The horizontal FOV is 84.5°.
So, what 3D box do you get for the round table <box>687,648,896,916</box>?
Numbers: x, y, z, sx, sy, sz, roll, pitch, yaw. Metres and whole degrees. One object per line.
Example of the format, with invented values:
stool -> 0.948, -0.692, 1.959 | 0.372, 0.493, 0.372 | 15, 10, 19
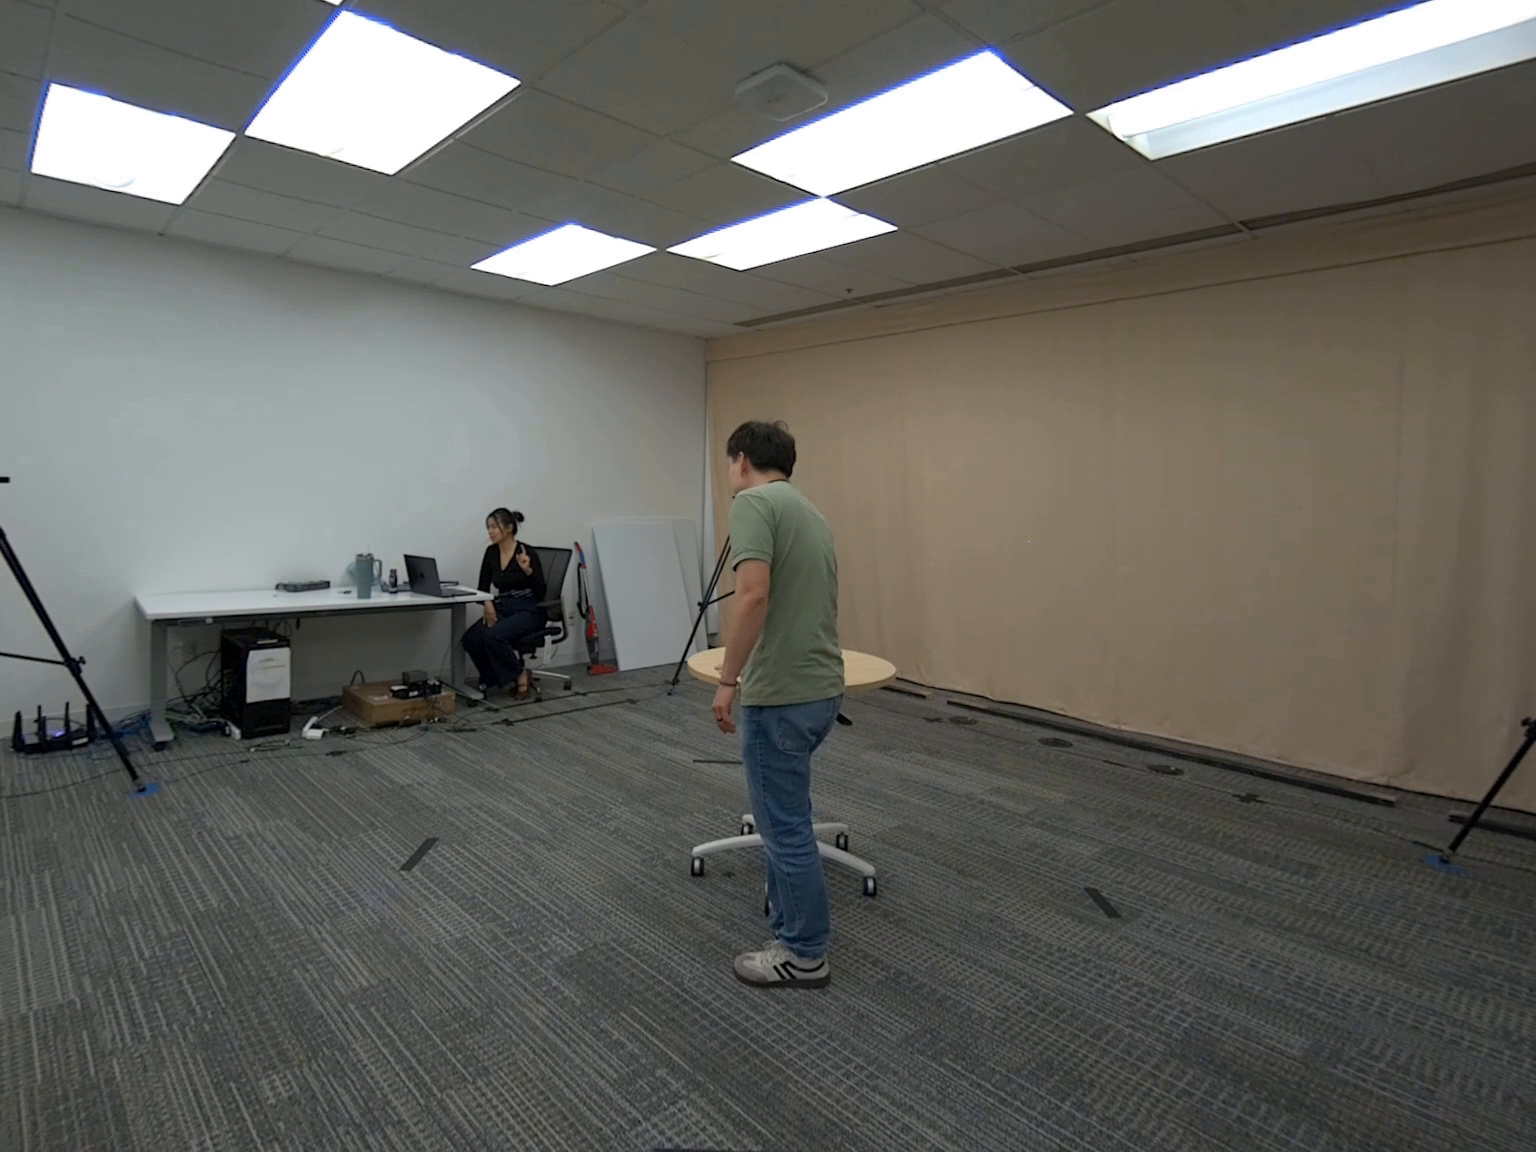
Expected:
round table -> 0.073, 0.718, 3.136 | 0.763, 0.792, 0.767 | 1, 4, -1
